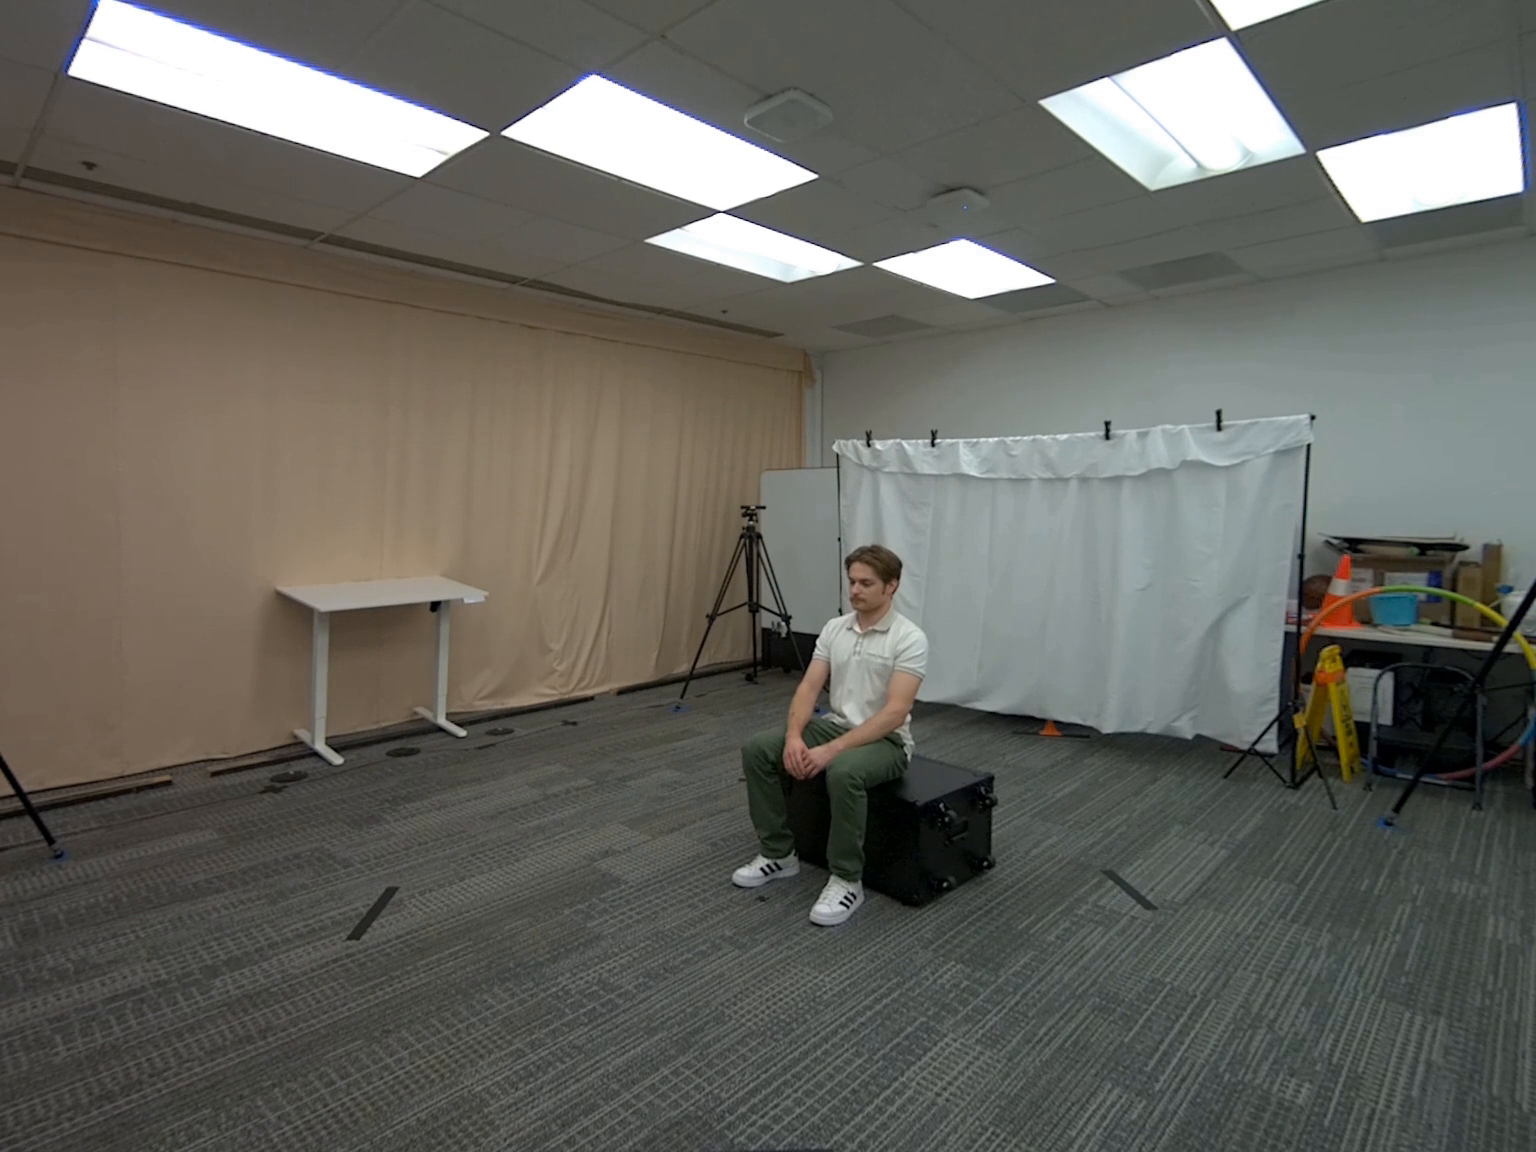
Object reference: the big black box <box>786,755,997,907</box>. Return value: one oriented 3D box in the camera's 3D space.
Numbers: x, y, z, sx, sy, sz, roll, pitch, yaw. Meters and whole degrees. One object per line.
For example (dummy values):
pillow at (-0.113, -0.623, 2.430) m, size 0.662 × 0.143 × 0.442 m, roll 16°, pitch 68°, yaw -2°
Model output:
big black box at (0.431, 0.924, 3.291) m, size 0.507 × 0.384 × 0.897 m, roll -2°, pitch 5°, yaw -44°
